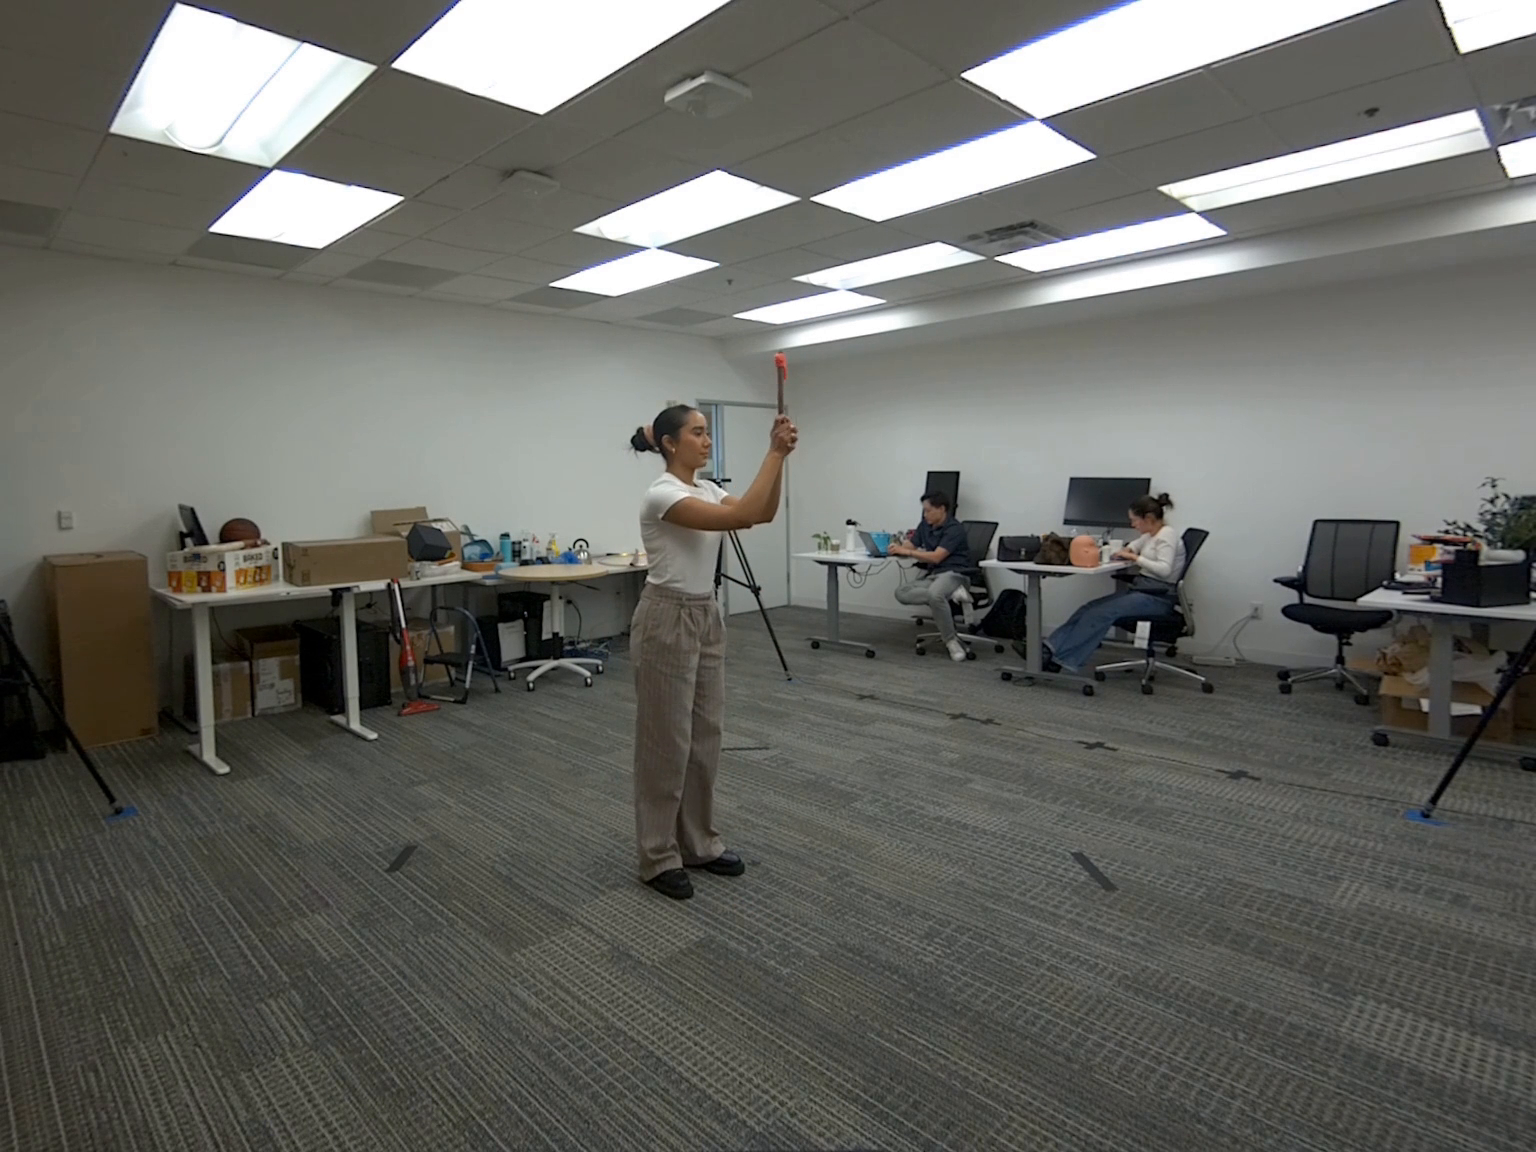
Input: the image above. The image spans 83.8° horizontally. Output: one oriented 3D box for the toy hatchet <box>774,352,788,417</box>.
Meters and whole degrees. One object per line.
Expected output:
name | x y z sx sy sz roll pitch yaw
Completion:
toy hatchet | 0.053 -0.590 2.758 0.030 0.266 0.131 1 16 11
